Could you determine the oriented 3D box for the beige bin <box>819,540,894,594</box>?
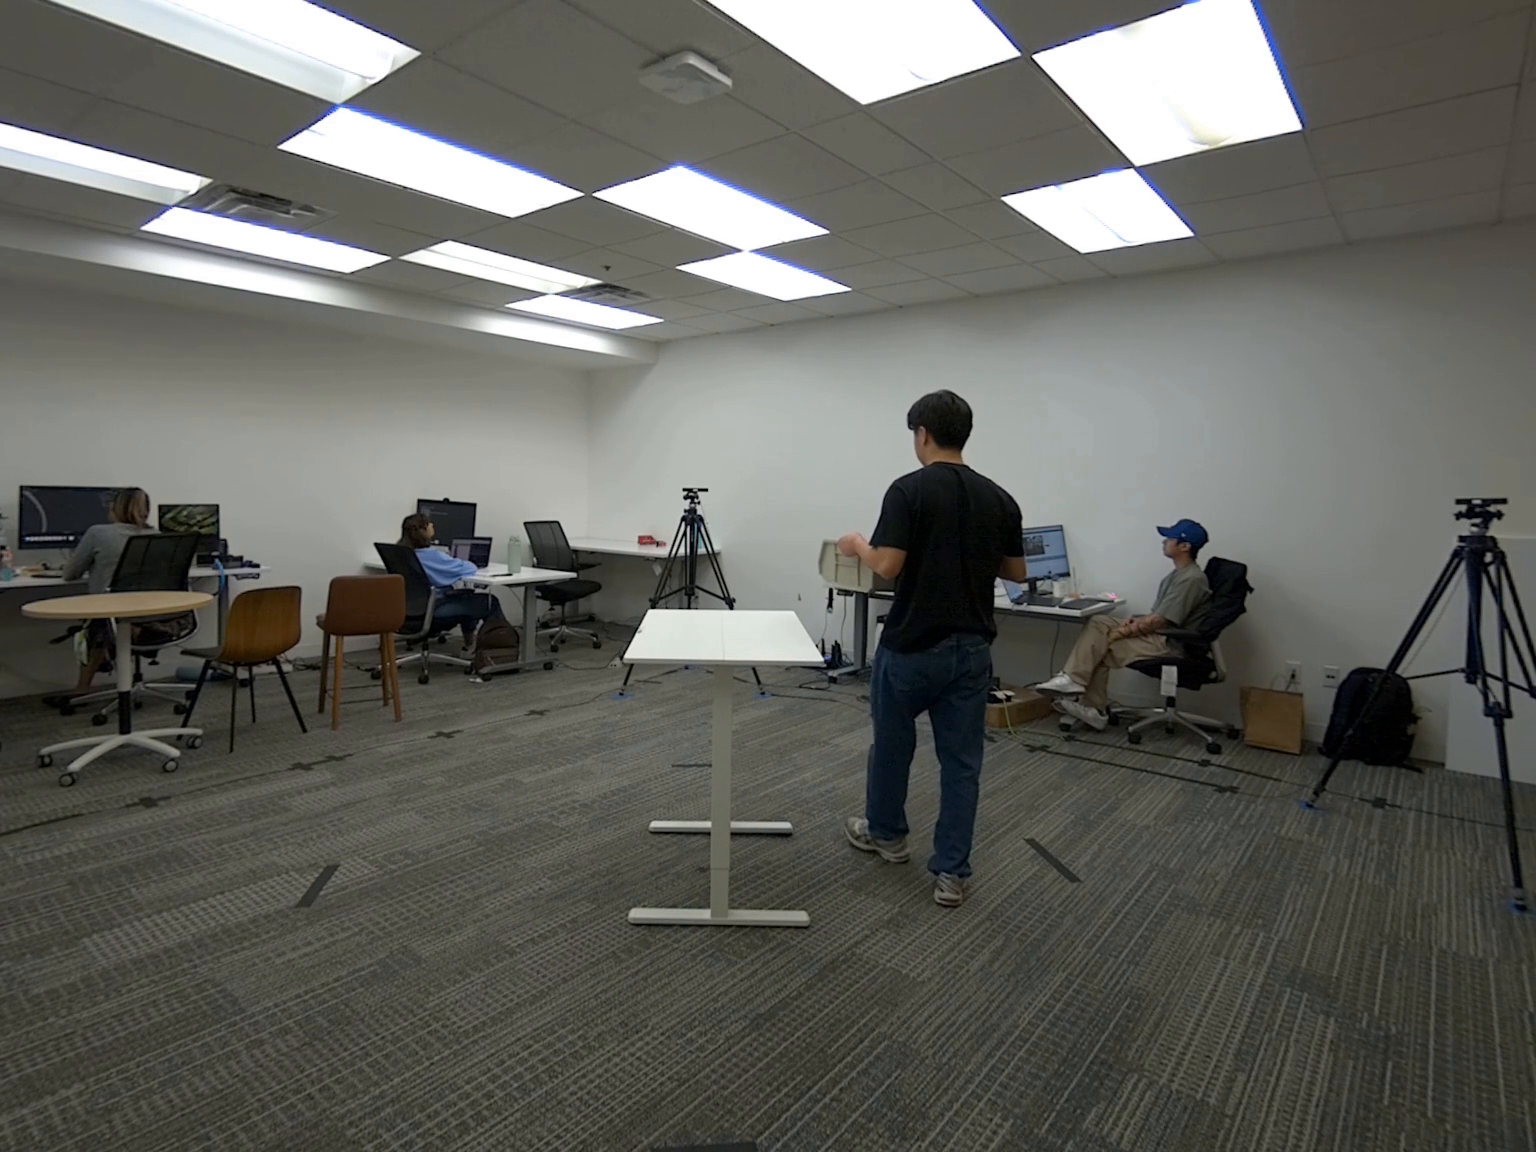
[{"bbox_3d":[0.449,-0.041,3.276,0.413,0.188,0.388,2,6,-23],"label":"beige bin"}]
